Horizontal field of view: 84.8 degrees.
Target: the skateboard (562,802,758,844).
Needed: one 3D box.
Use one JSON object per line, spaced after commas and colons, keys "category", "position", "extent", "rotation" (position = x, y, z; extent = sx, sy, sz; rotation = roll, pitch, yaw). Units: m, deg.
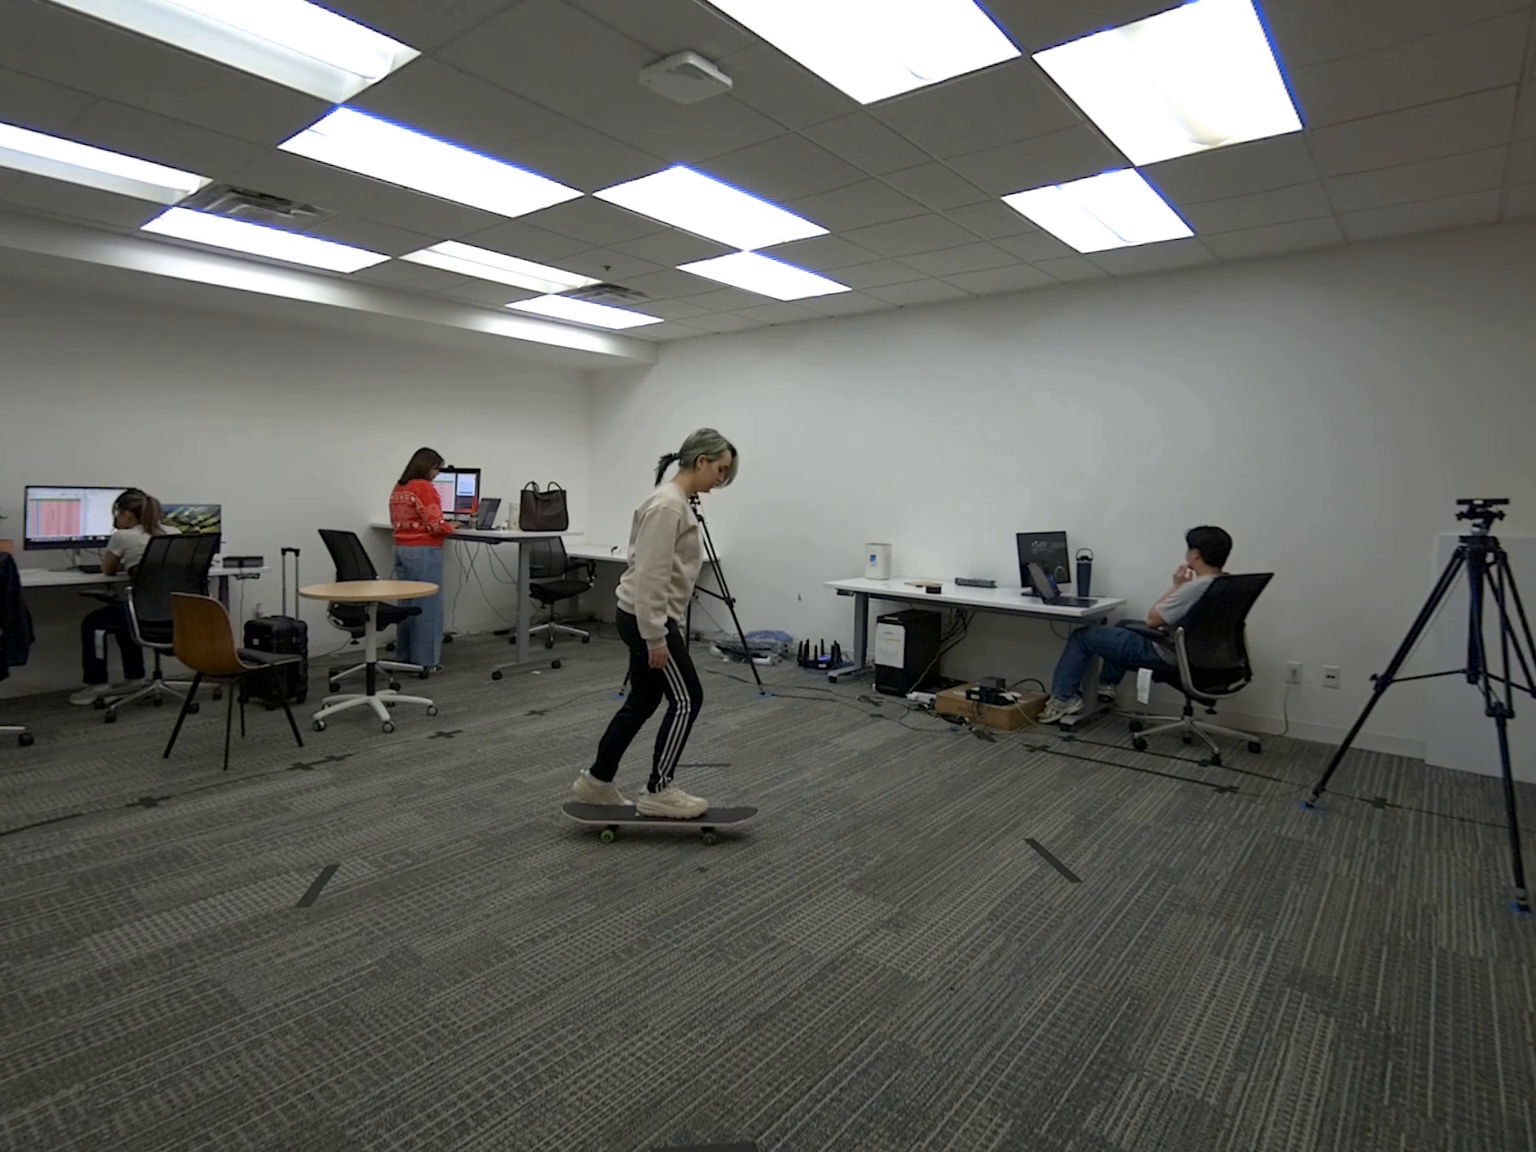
{"category": "skateboard", "position": [-0.438, 0.984, 3.403], "extent": [0.784, 0.110, 0.194], "rotation": [1, 4, -1]}
